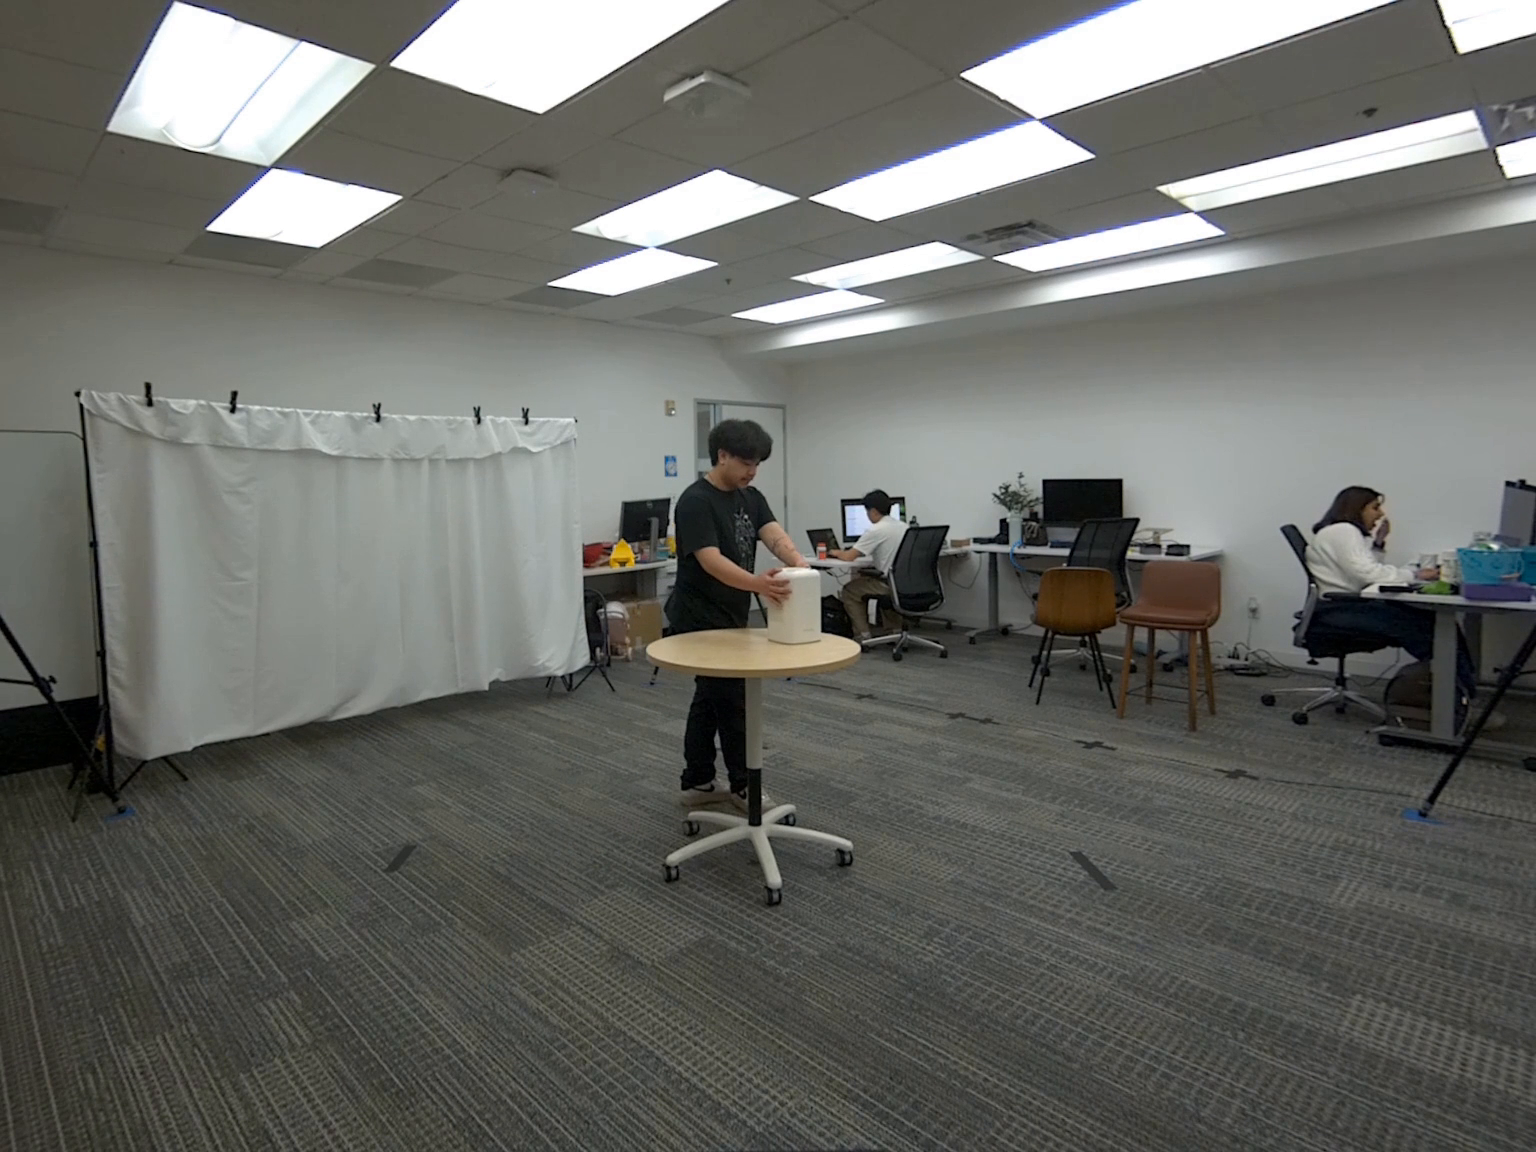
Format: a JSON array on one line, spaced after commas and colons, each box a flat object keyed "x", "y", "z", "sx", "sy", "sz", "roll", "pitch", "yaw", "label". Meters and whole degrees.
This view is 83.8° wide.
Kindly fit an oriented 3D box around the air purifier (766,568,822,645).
[{"x": 0.097, "y": 0.108, "z": 3.174, "sx": 0.167, "sy": 0.265, "sz": 0.176, "roll": -3, "pitch": 4, "yaw": -34, "label": "air purifier"}]
